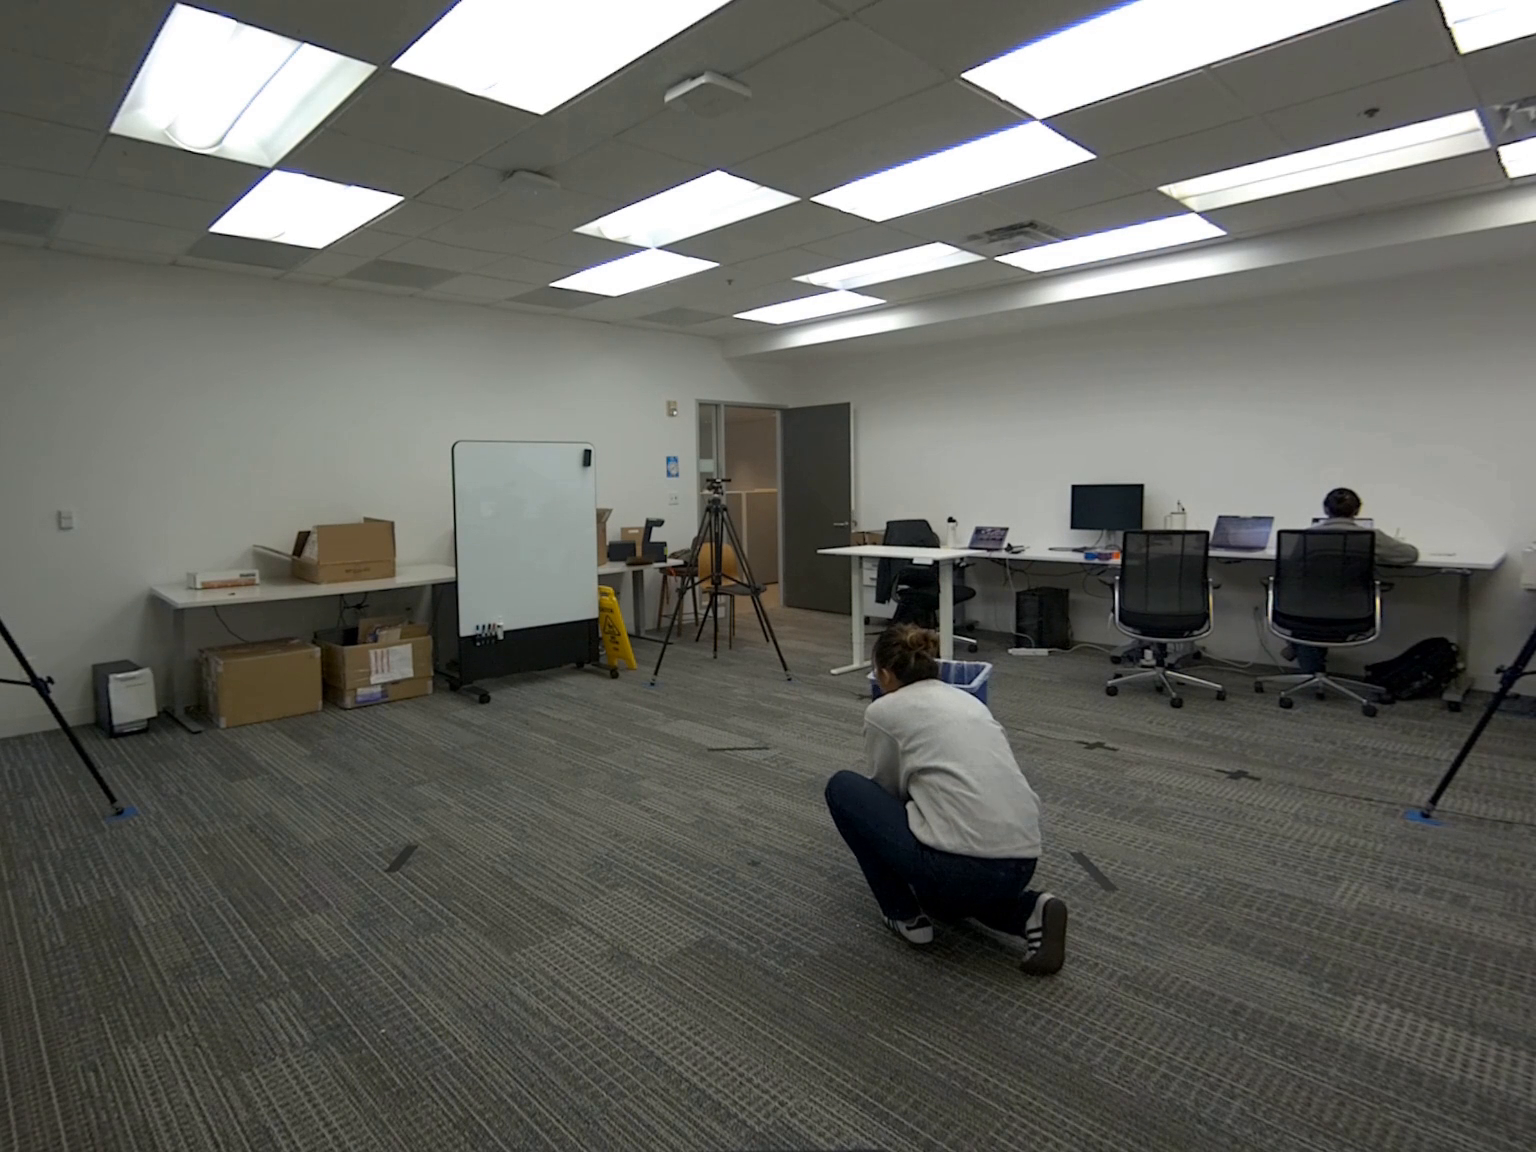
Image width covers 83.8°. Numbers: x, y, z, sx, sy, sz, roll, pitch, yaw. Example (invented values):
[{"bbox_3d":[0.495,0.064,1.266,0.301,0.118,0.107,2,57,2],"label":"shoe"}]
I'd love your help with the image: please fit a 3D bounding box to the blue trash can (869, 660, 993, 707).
[{"bbox_3d":[0.586,0.685,3.024,0.387,0.711,0.367,1,4,26],"label":"blue trash can"}]
